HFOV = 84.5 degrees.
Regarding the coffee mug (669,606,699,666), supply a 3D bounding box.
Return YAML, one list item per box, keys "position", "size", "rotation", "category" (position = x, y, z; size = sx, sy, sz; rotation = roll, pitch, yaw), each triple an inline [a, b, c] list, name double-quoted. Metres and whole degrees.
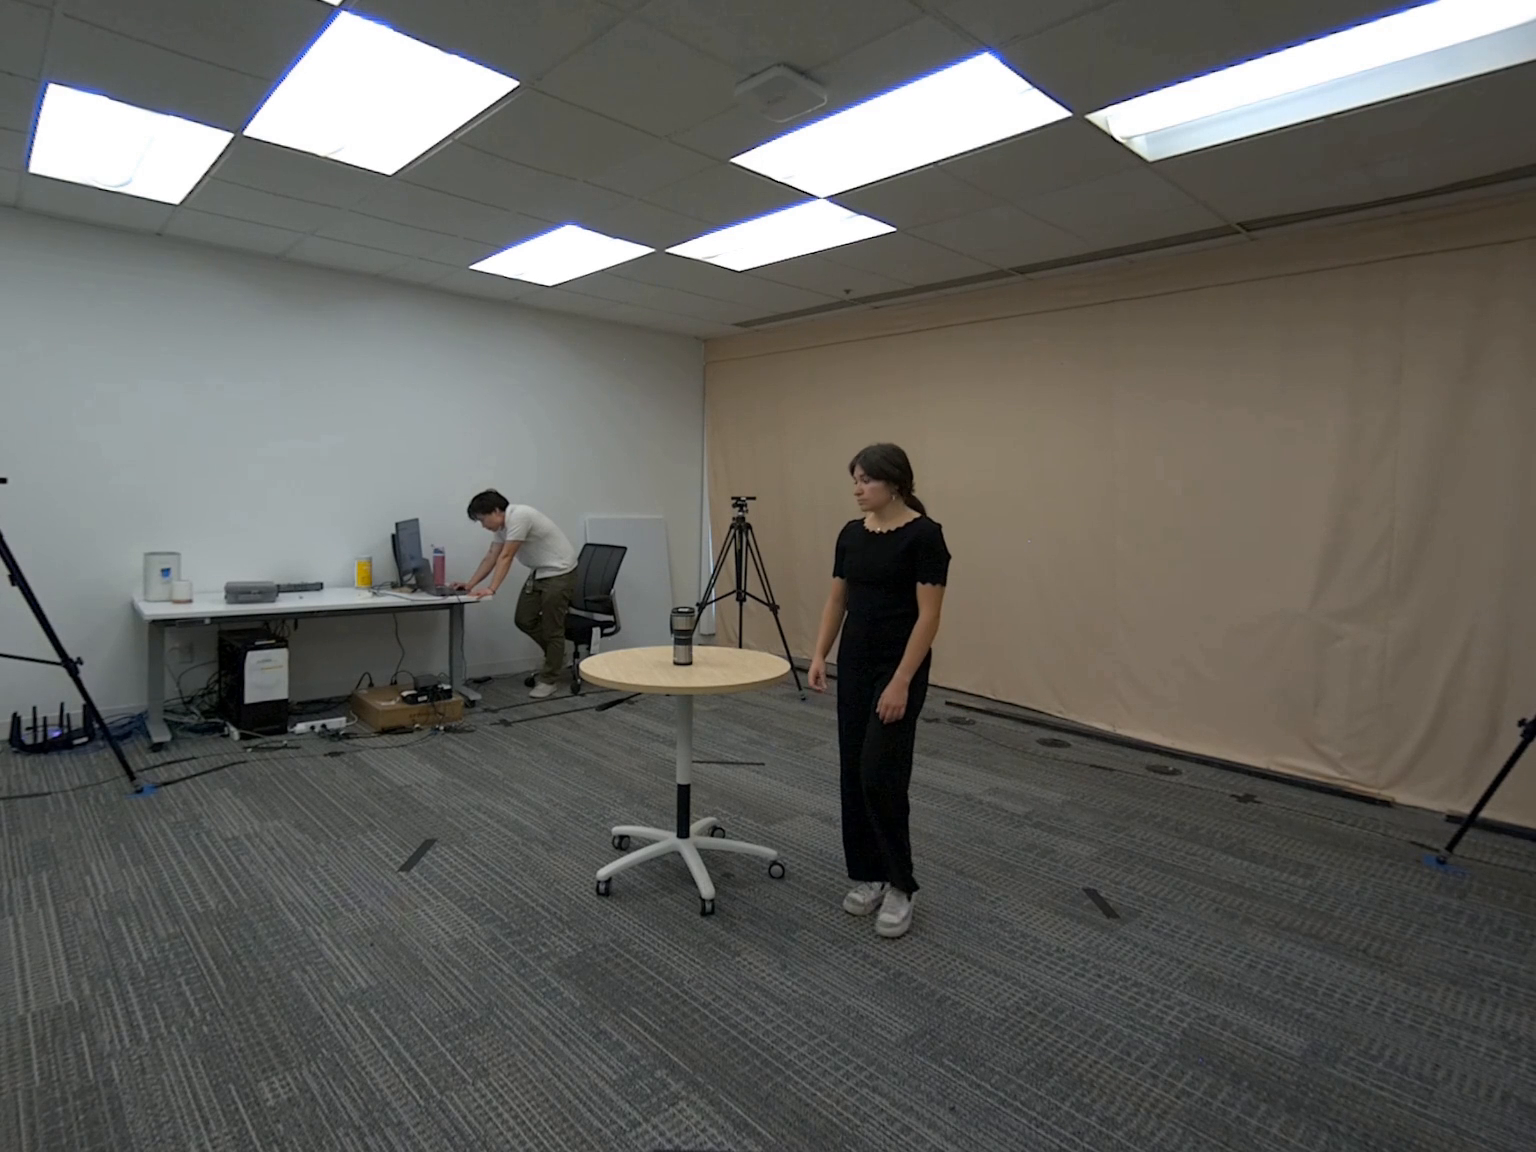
- position: [-0.305, 0.218, 3.079]
  size: [0.089, 0.202, 0.120]
  rotation: [-1, 4, 19]
  category: "coffee mug"
